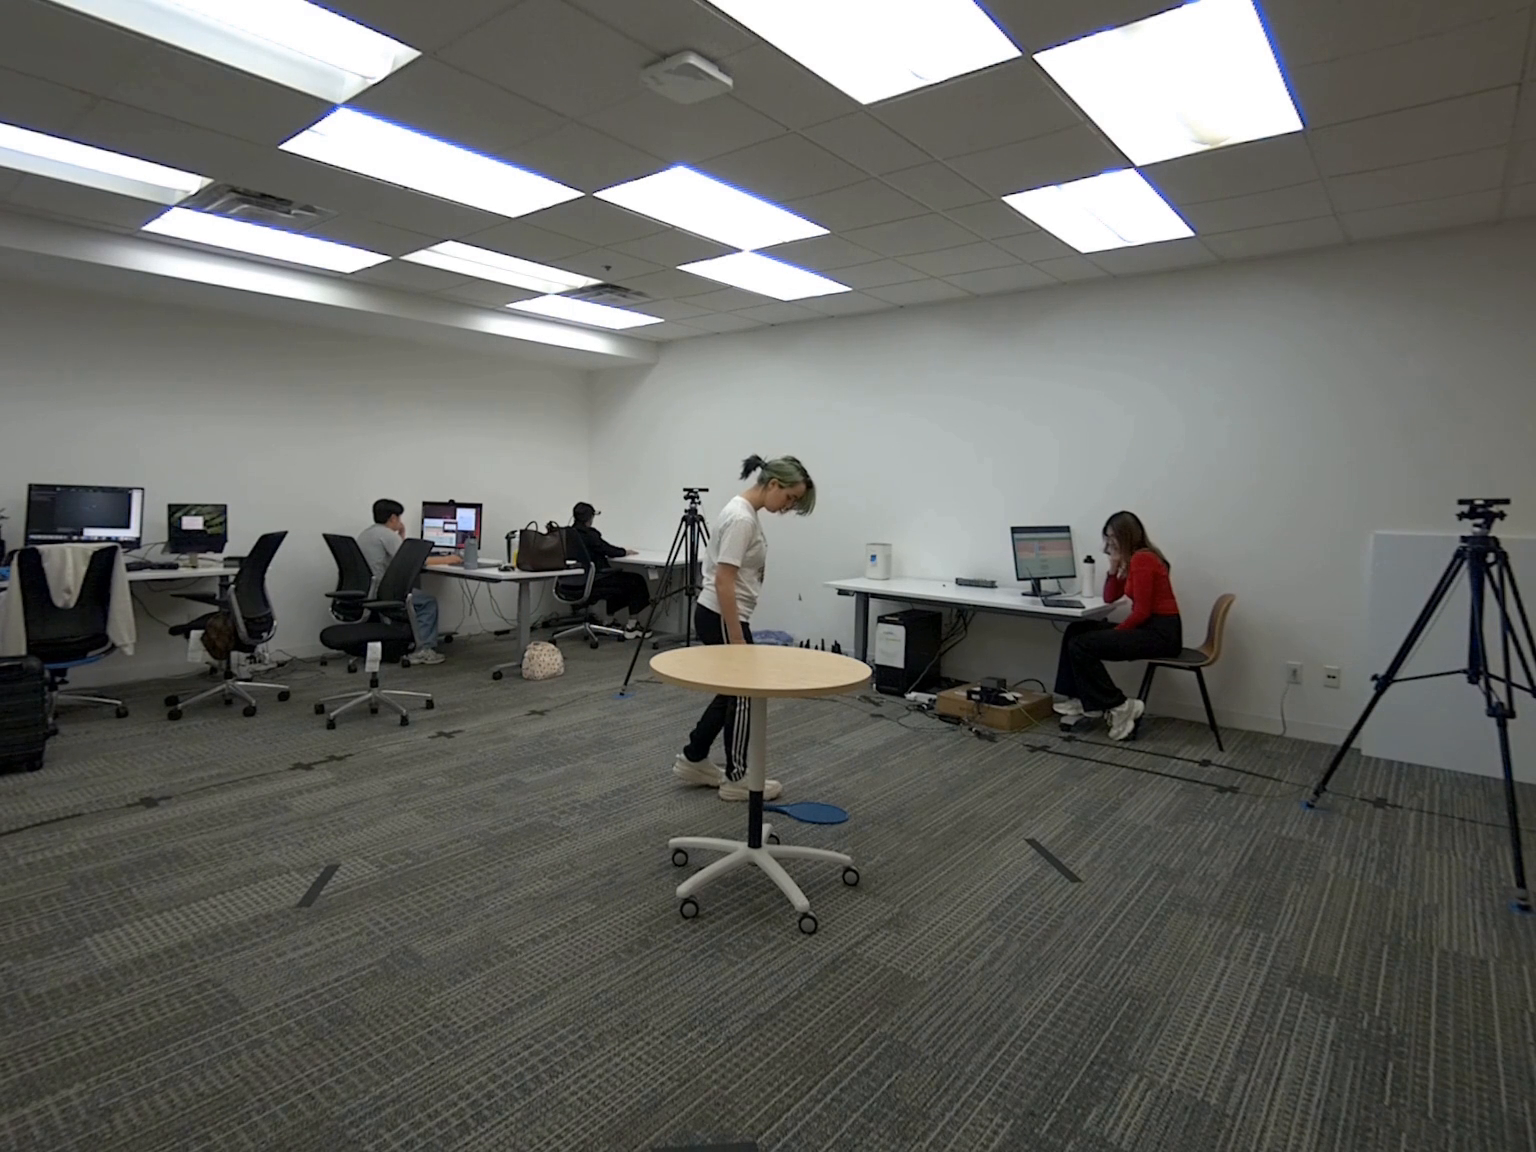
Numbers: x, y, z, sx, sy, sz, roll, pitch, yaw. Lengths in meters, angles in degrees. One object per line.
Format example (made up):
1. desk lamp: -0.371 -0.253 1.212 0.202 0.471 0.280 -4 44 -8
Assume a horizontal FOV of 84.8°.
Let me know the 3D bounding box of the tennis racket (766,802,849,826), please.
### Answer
1. tennis racket: 0.126 1.008 3.674 0.438 0.031 0.212 4 6 10
